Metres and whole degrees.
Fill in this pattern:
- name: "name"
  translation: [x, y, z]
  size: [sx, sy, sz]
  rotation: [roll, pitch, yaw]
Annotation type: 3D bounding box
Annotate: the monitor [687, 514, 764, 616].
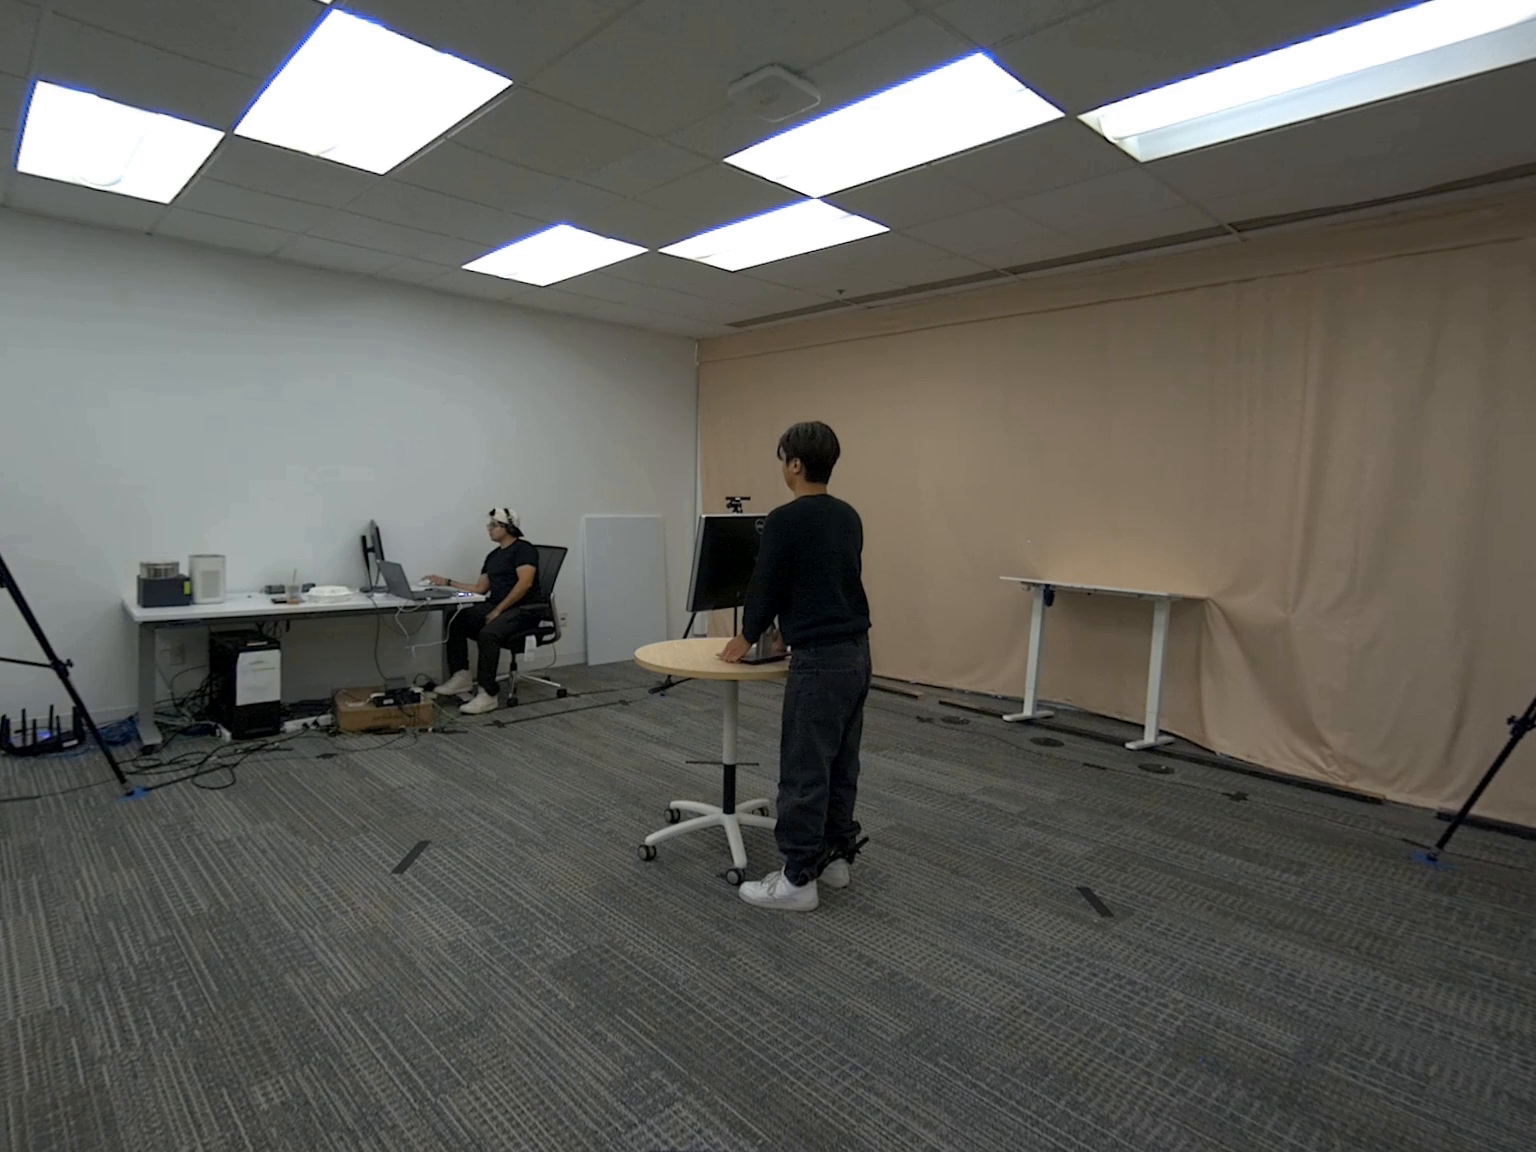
- name: "monitor"
  translation: [-0.050, 0.035, 3.201]
  size: [0.192, 0.521, 0.527]
  rotation: [2, 4, 43]
